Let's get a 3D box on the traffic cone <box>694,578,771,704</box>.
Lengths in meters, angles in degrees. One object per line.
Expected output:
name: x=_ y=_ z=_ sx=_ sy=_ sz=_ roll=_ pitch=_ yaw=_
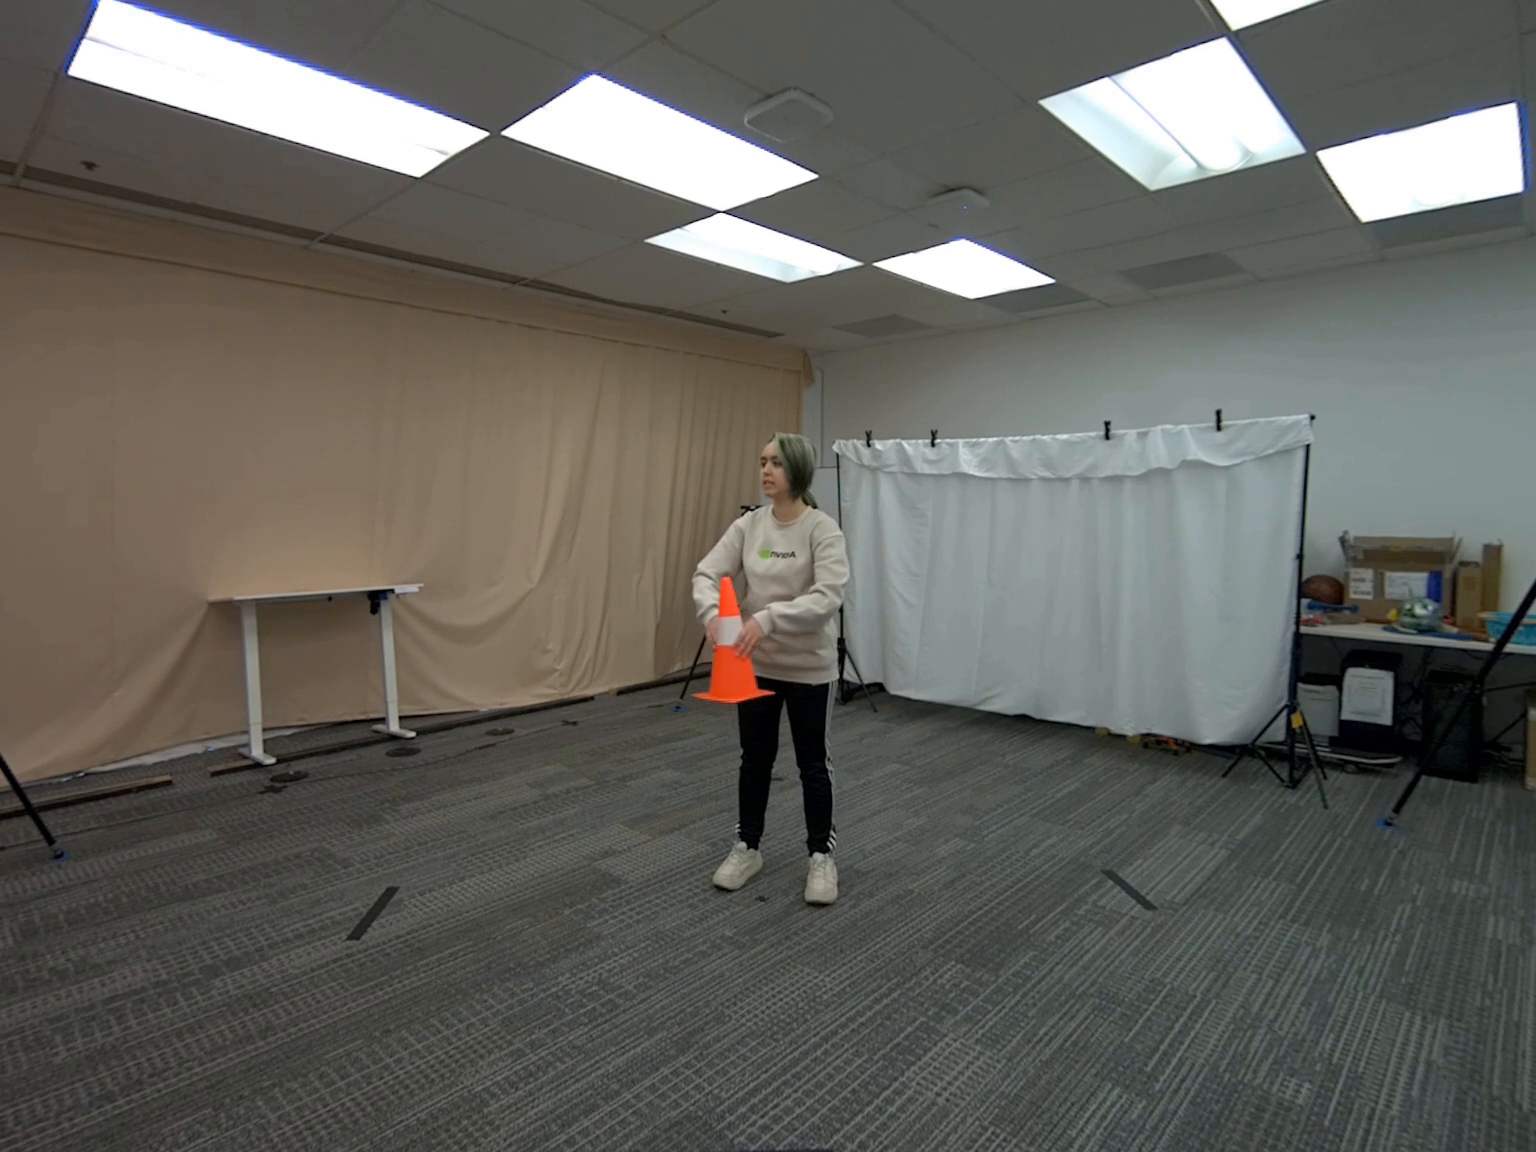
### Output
traffic cone: x=-0.115 y=0.187 z=2.738 sx=0.211 sy=0.384 sz=0.197 roll=-2 pitch=0 yaw=38
